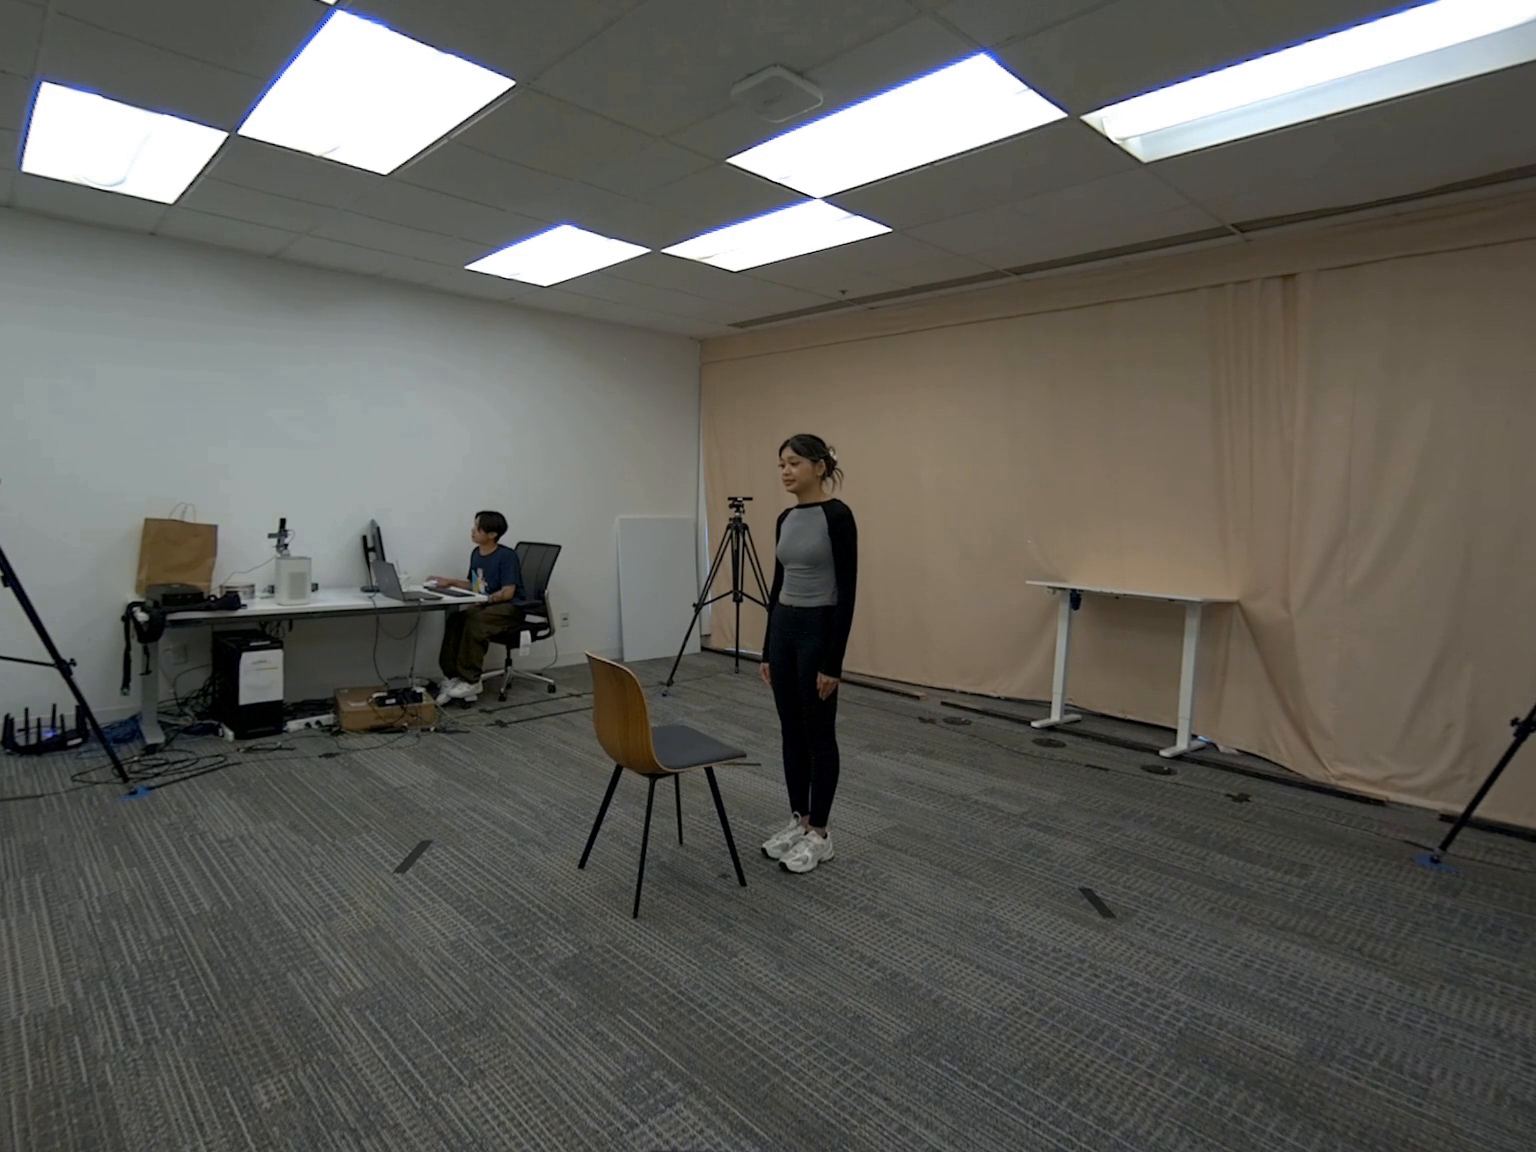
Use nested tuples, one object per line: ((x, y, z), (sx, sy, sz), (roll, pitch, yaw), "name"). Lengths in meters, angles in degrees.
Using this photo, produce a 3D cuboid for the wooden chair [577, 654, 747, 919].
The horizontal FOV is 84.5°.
((-0.384, 0.680, 3.057), (0.512, 0.874, 0.490), (-6, 7, -35), "wooden chair")
